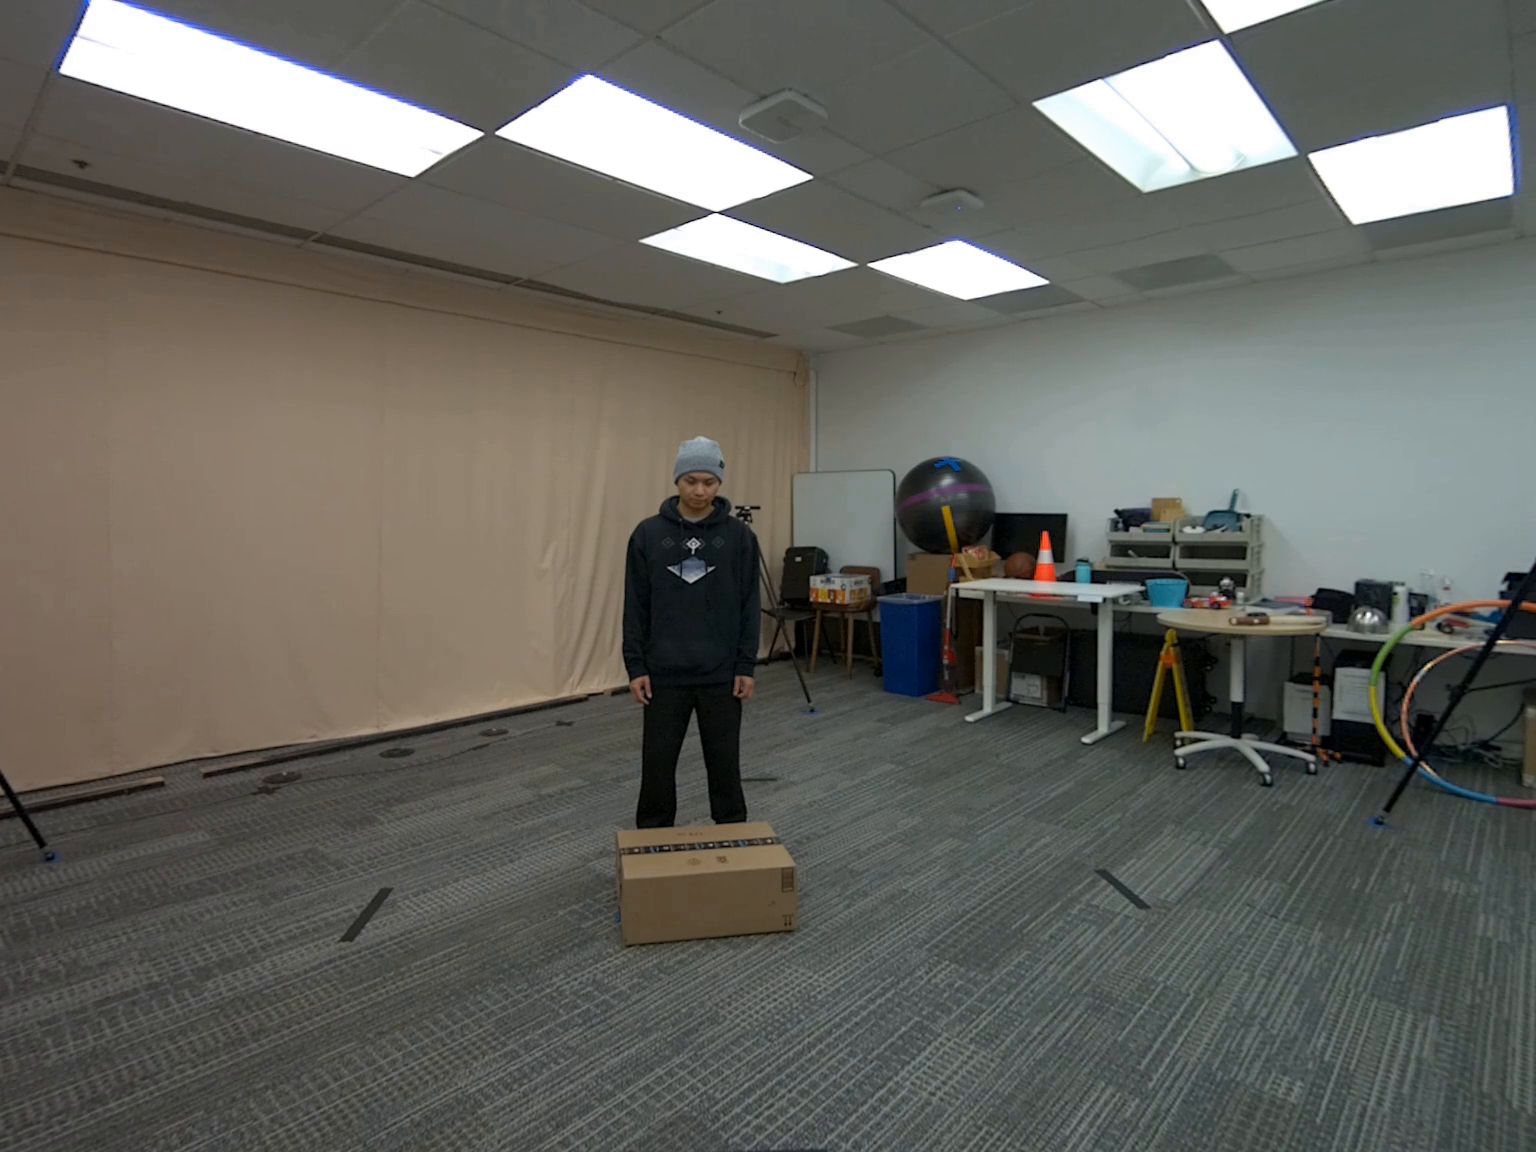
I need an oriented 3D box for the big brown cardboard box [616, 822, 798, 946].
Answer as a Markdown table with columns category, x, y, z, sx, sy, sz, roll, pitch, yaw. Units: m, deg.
| category | x | y | z | sx | sy | sz | roll | pitch | yaw |
| --- | --- | --- | --- | --- | --- | --- | --- | --- | --- |
| big brown cardboard box | -0.229 | 1.041 | 2.900 | 0.583 | 0.233 | 0.423 | -2 | 4 | -10 |
